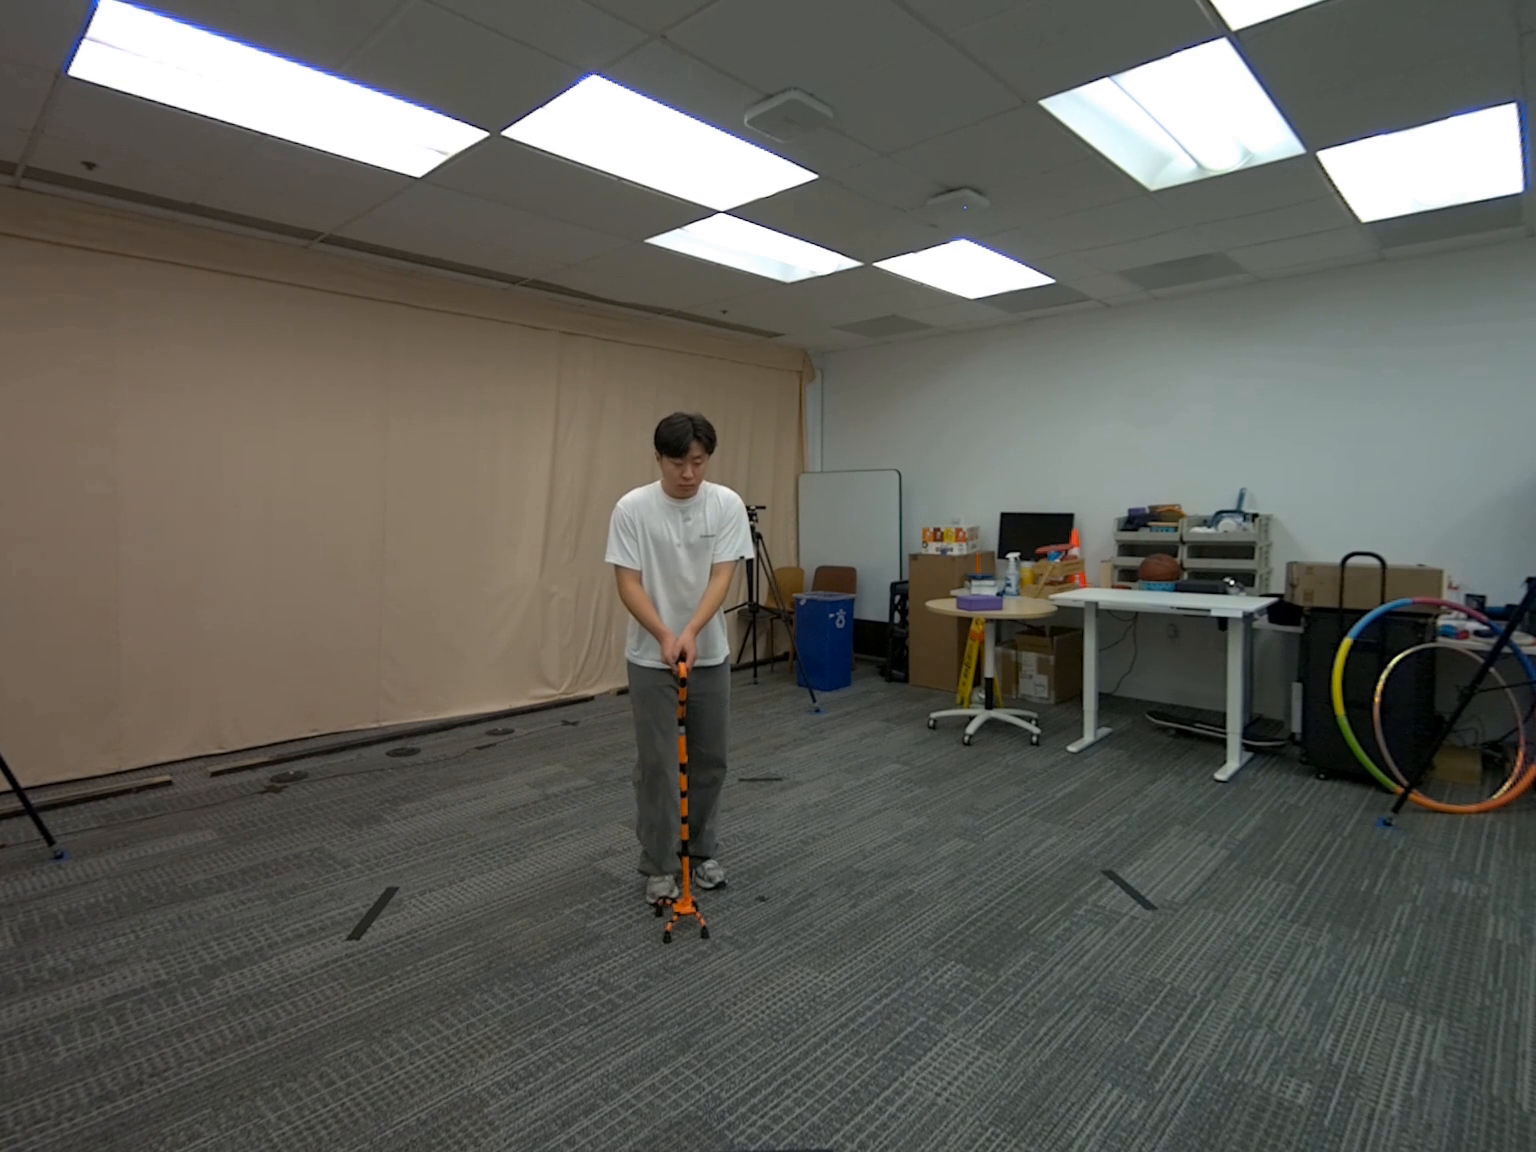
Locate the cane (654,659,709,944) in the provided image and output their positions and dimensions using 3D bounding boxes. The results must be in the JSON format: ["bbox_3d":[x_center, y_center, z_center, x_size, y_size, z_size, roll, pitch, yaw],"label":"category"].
[{"bbox_3d":[-0.298,0.707,2.759,0.149,0.905,0.210,-2,5,-15],"label":"cane"}]
